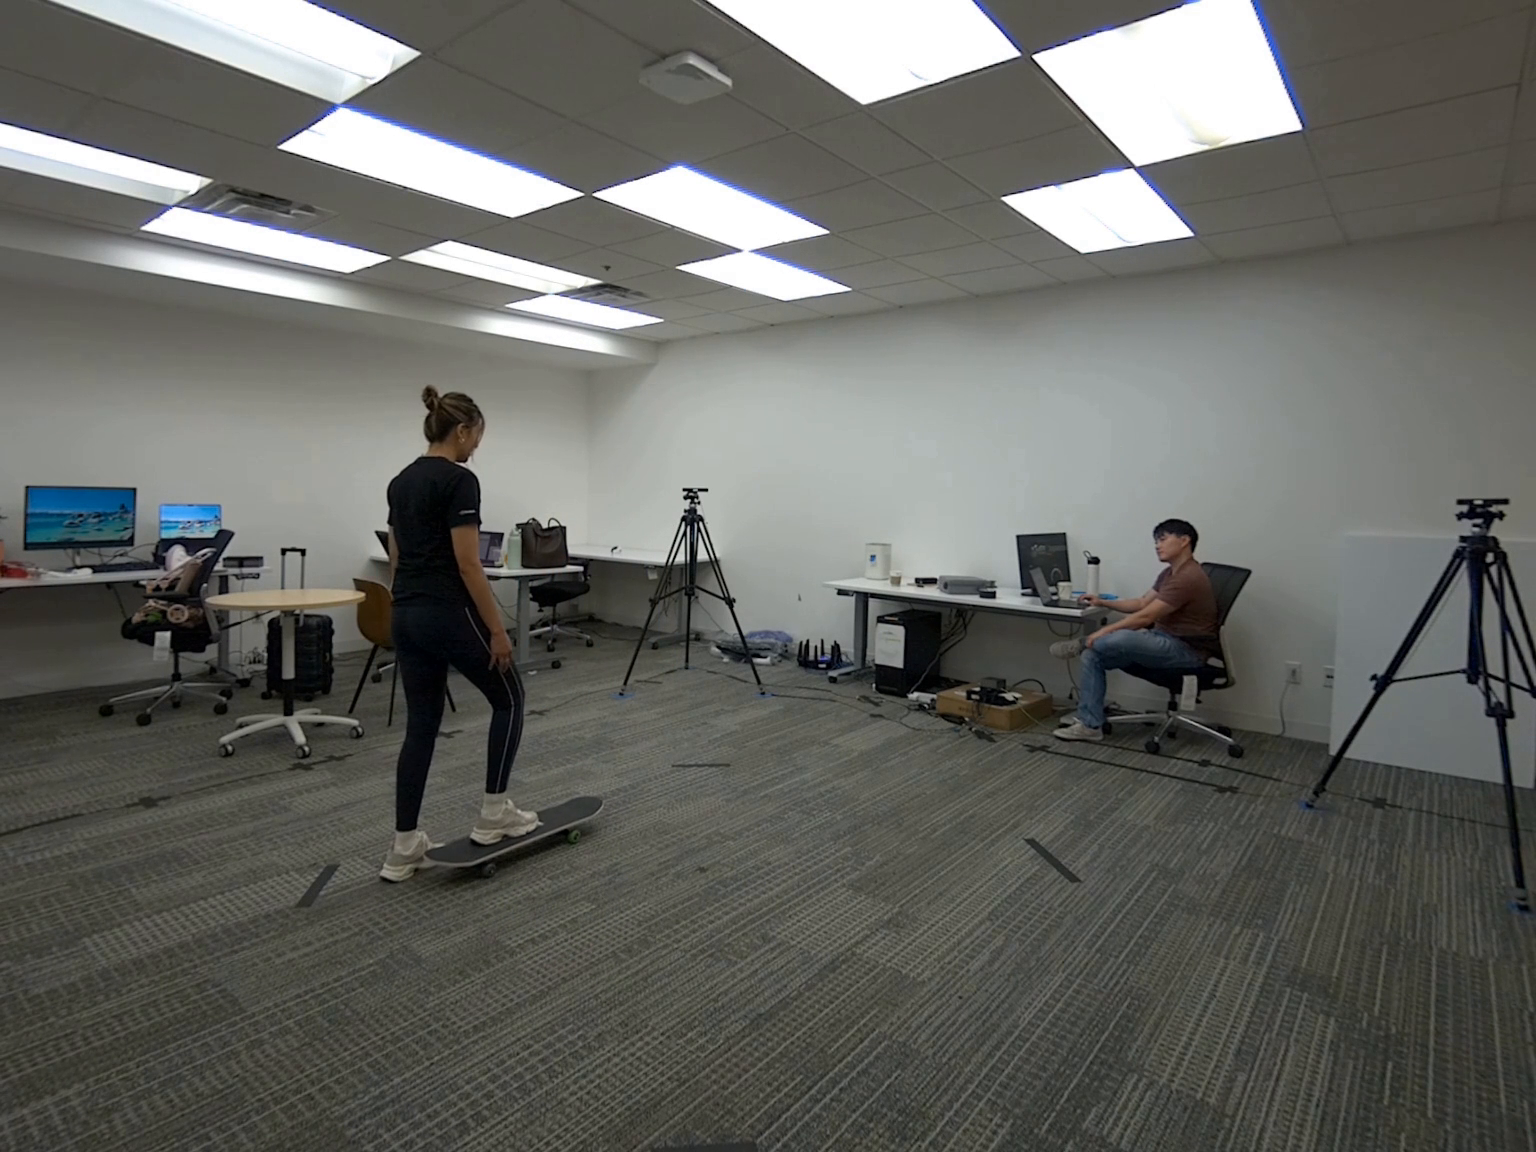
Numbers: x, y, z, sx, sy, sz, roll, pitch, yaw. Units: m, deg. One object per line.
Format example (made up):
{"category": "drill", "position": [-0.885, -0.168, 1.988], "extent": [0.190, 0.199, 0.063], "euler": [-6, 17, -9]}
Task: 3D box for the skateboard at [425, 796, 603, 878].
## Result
{"category": "skateboard", "position": [-0.956, 0.994, 3.215], "extent": [0.200, 0.110, 0.763], "euler": [5, 7, 37]}
